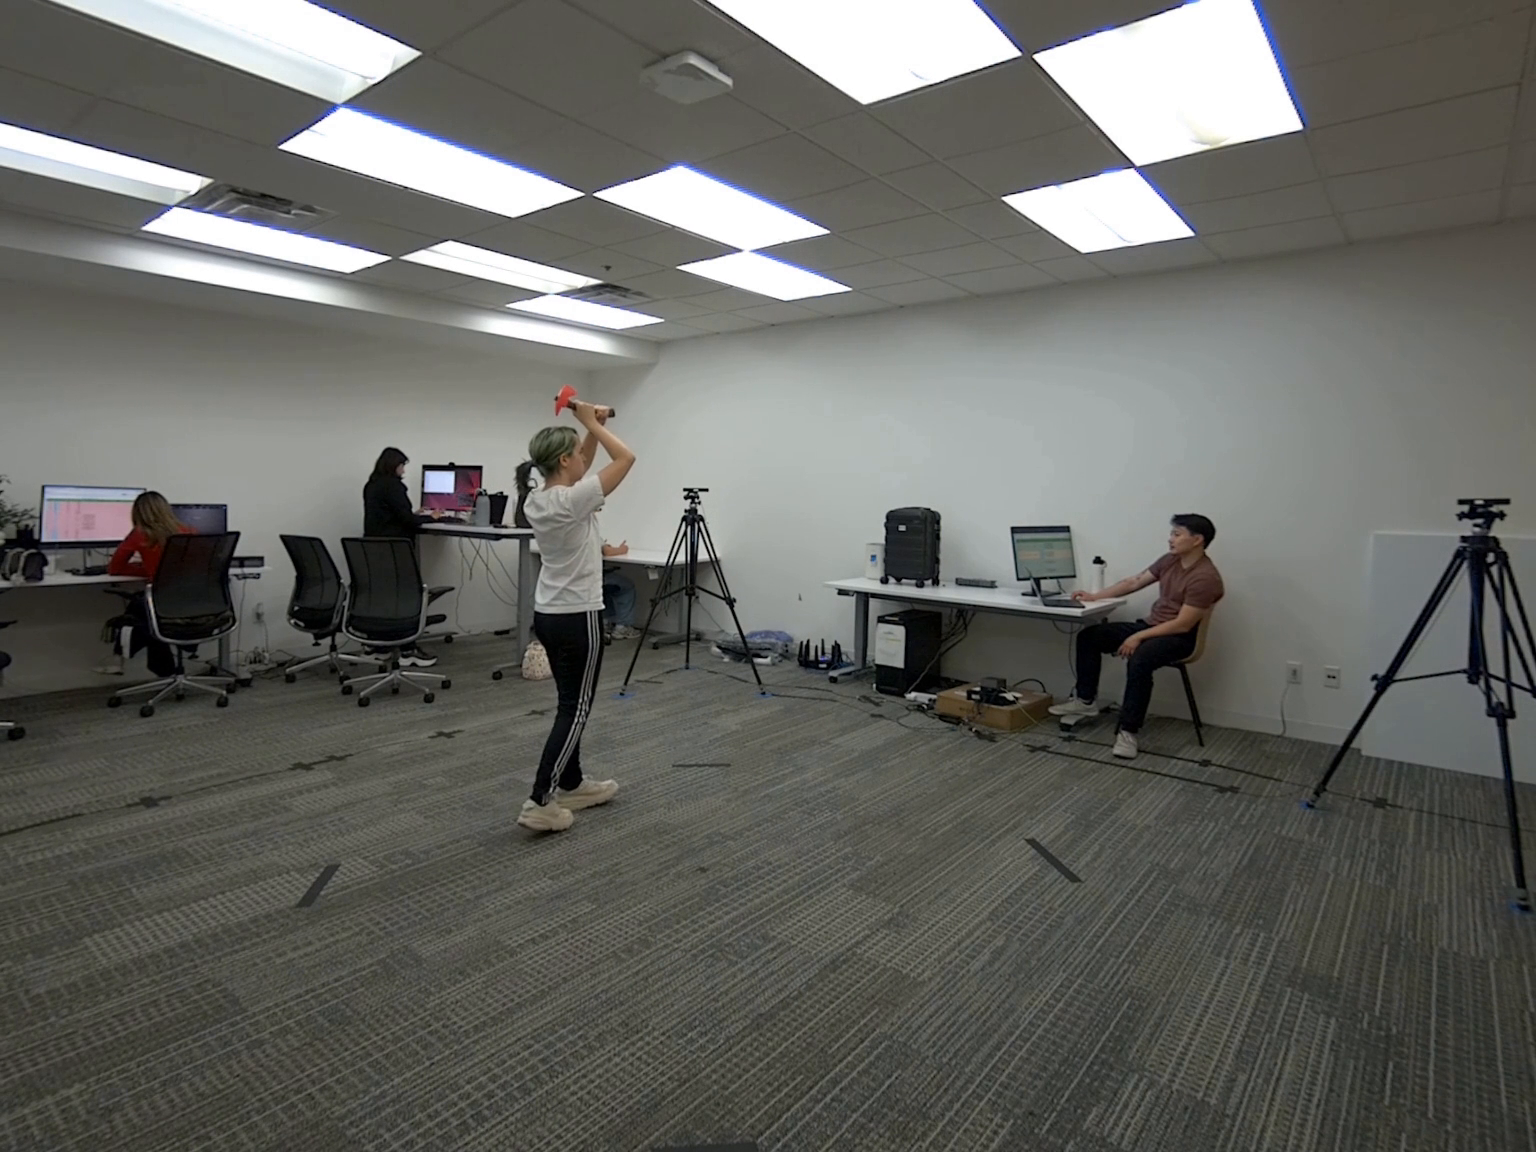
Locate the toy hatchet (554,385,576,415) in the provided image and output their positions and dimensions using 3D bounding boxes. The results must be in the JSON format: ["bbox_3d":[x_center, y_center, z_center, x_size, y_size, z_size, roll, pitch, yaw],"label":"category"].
[{"bbox_3d":[-0.774,-0.739,3.569,0.263,0.130,0.030,-4,4,-27],"label":"toy hatchet"}]
